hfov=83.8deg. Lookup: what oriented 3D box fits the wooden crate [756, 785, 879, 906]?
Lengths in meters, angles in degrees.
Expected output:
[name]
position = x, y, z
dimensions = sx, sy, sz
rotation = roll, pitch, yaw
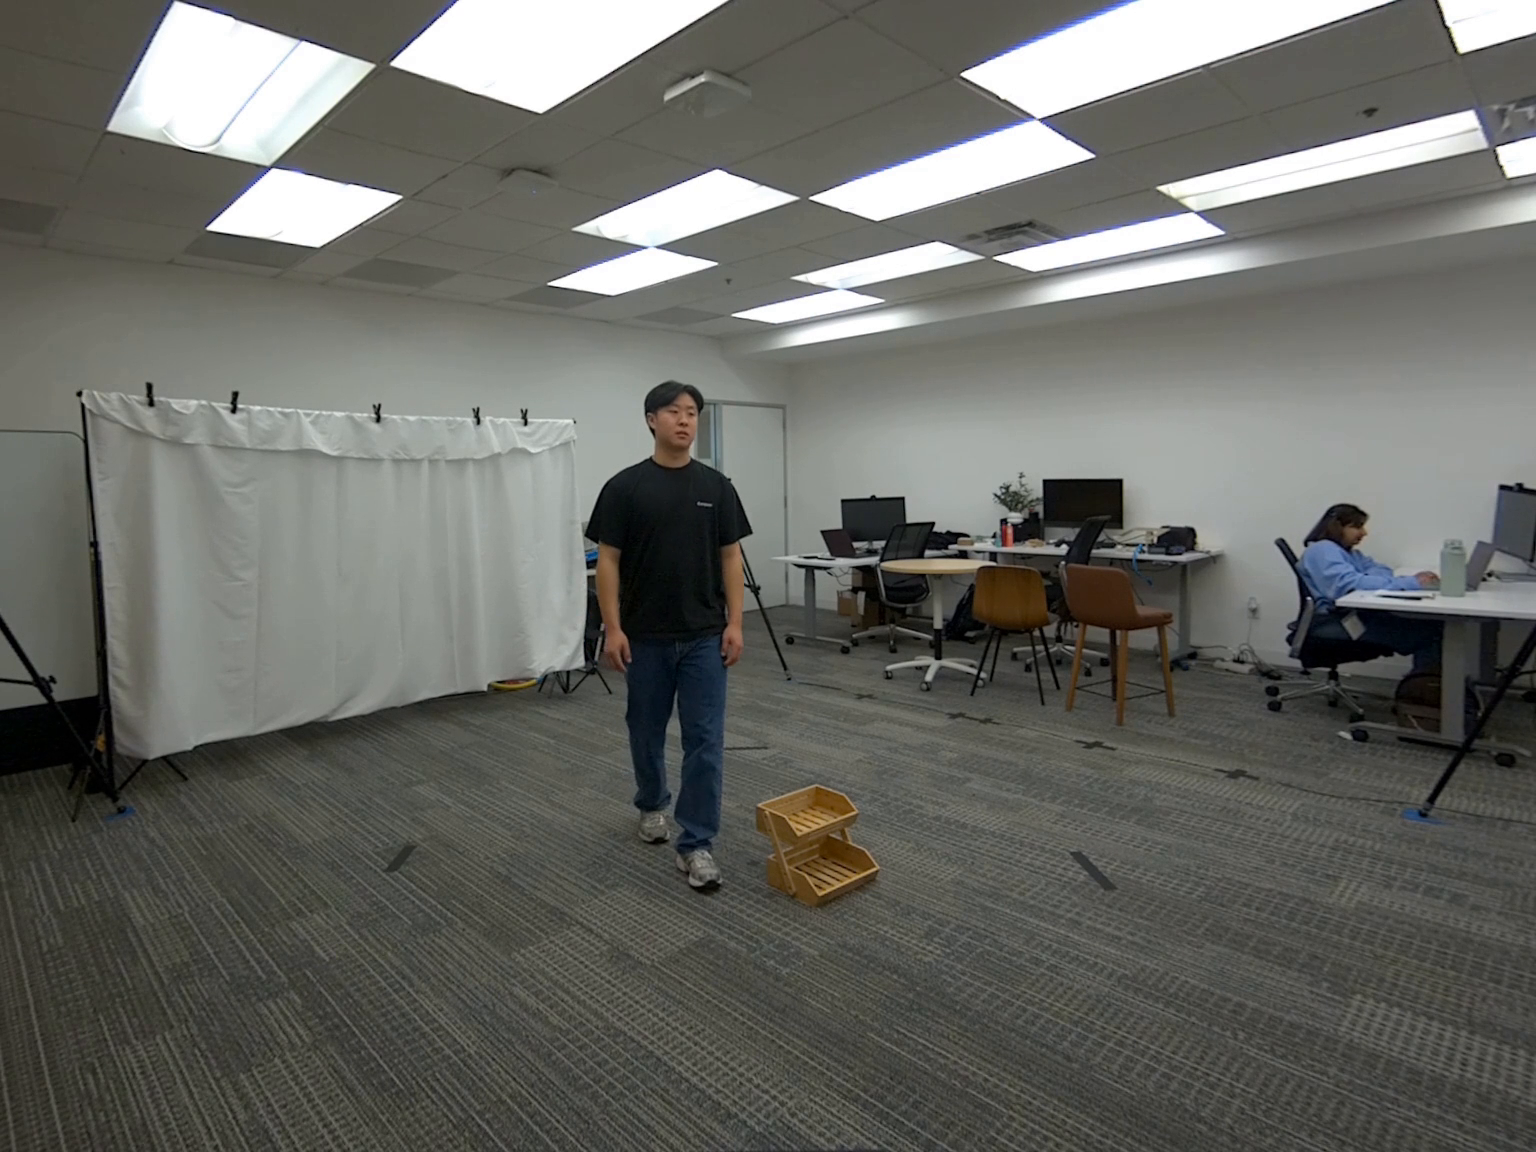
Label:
[wooden crate]
position = 0.177, 0.922, 2.959
dimensions = 0.316, 0.272, 0.311
rotation = -5, 6, -41
